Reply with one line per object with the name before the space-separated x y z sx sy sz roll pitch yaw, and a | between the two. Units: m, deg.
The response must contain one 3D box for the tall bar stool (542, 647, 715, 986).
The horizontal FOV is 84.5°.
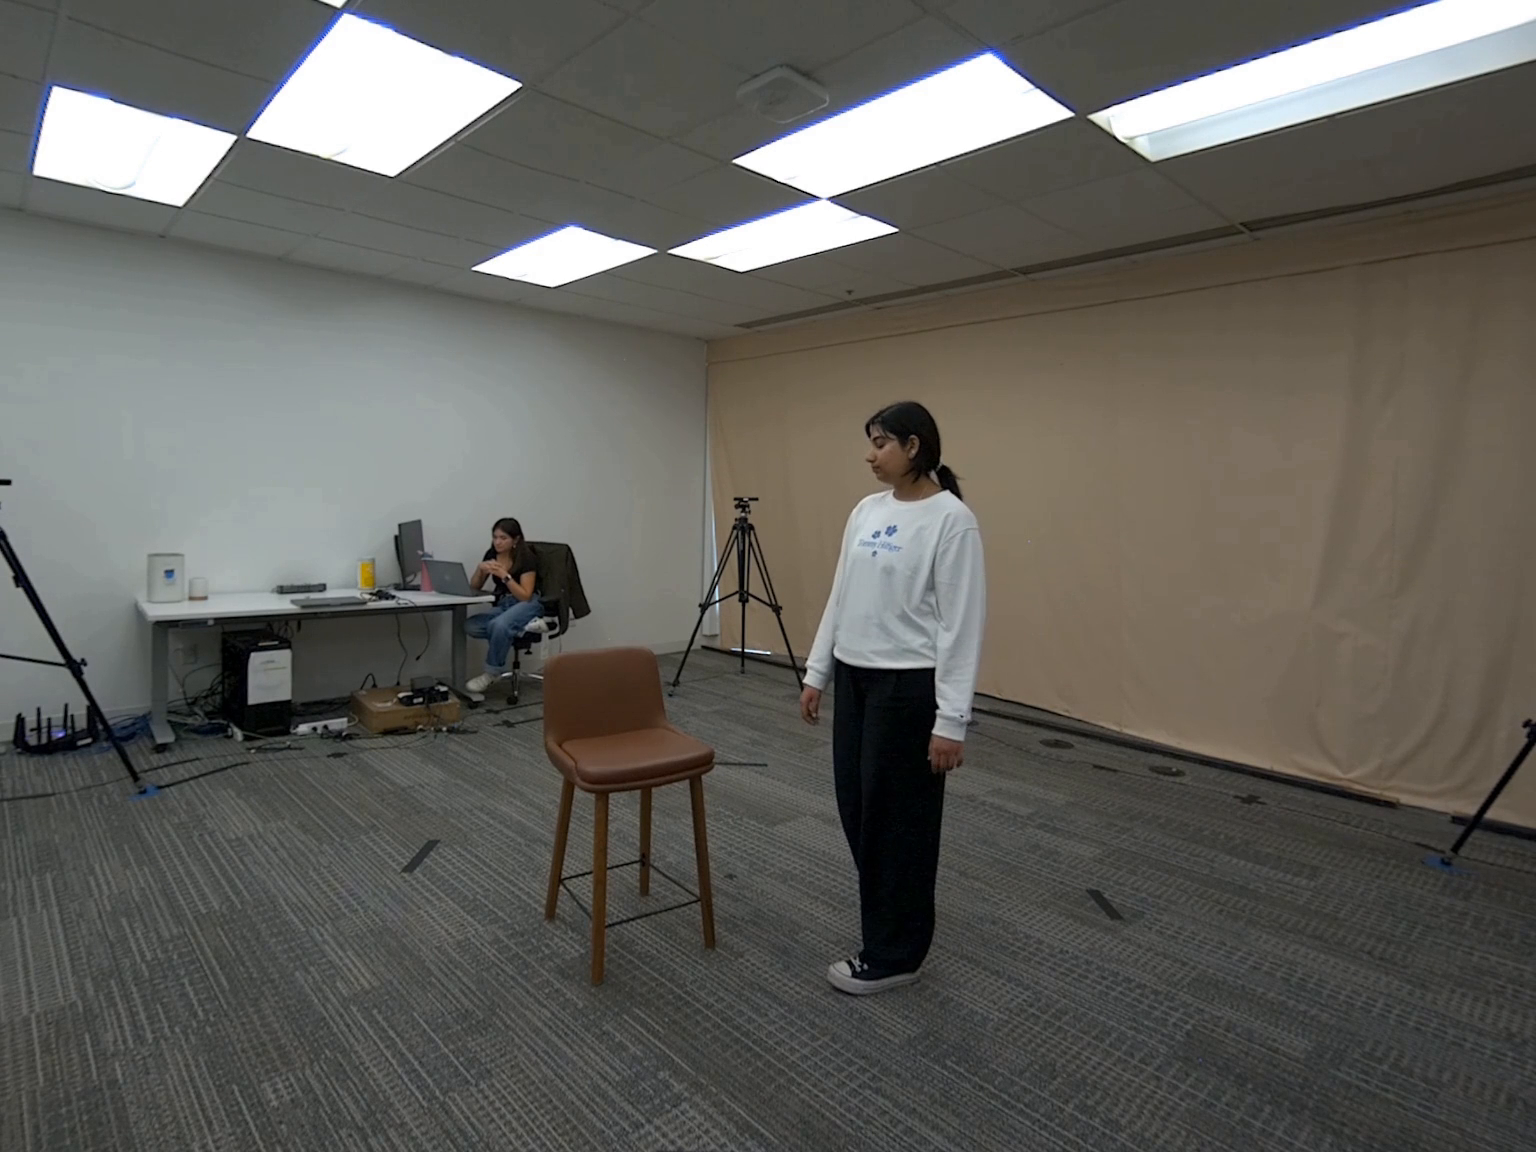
tall bar stool | -0.450 0.706 2.665 0.447 0.889 0.478 -1 2 -34
